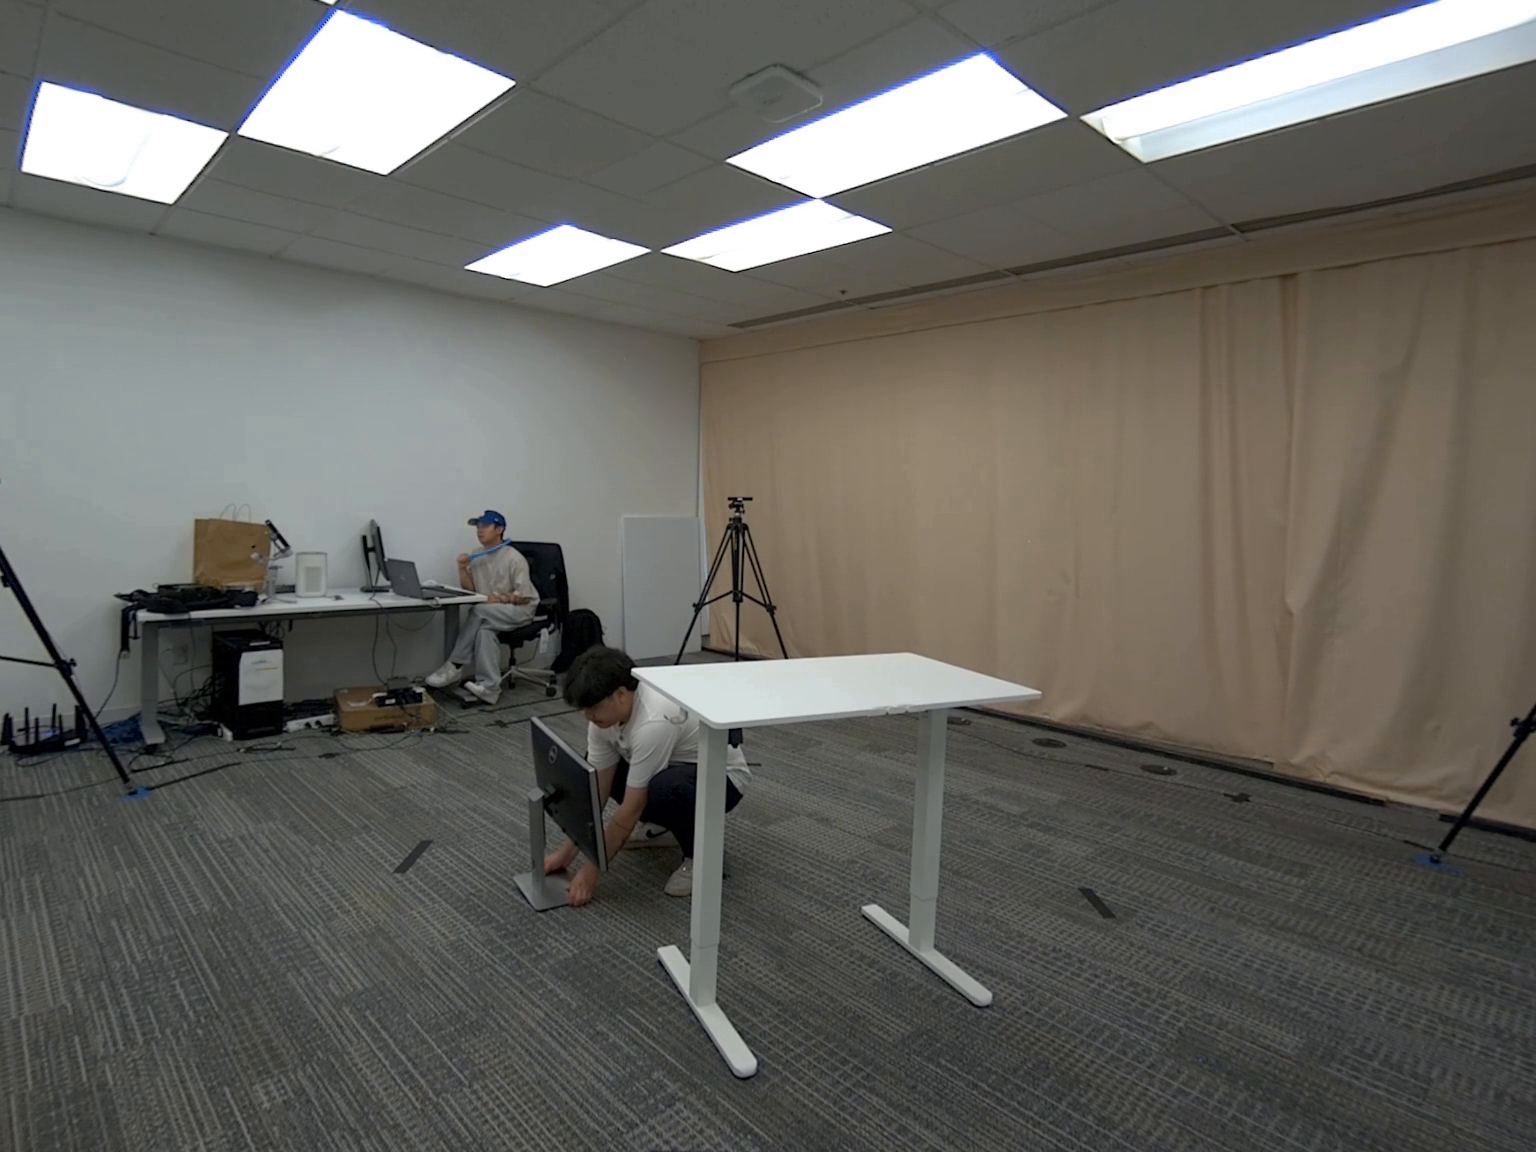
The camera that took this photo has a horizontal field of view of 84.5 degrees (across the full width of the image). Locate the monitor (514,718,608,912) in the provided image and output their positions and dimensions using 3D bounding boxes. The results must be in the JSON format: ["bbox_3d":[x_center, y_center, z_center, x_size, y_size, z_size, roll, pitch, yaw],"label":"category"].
[{"bbox_3d":[-0.763,0.842,2.905,0.206,0.550,0.581,-7,13,-34],"label":"monitor"}]
